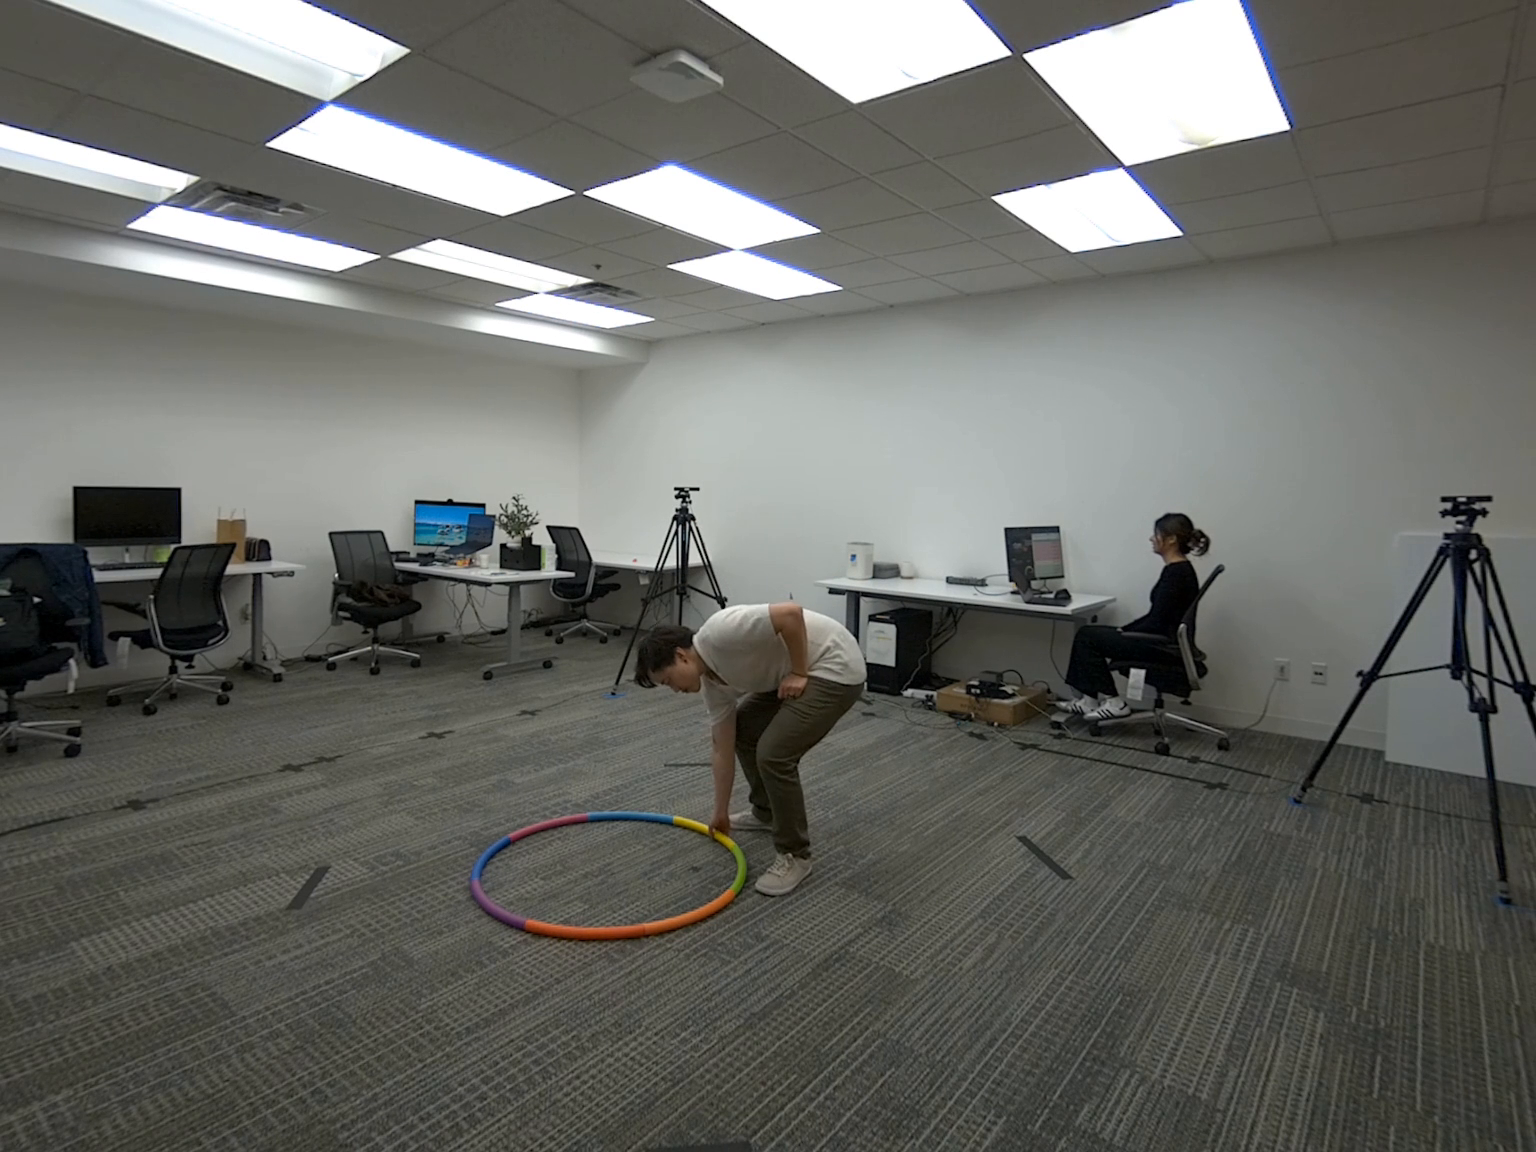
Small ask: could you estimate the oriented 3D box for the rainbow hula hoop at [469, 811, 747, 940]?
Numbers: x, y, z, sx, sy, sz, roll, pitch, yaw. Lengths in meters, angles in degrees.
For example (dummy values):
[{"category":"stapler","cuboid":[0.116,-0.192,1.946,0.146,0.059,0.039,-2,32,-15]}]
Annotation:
[{"category":"rainbow hula hoop","cuboid":[-0.574,1.025,3.080,0.978,0.035,0.984,0,6,-2]}]
